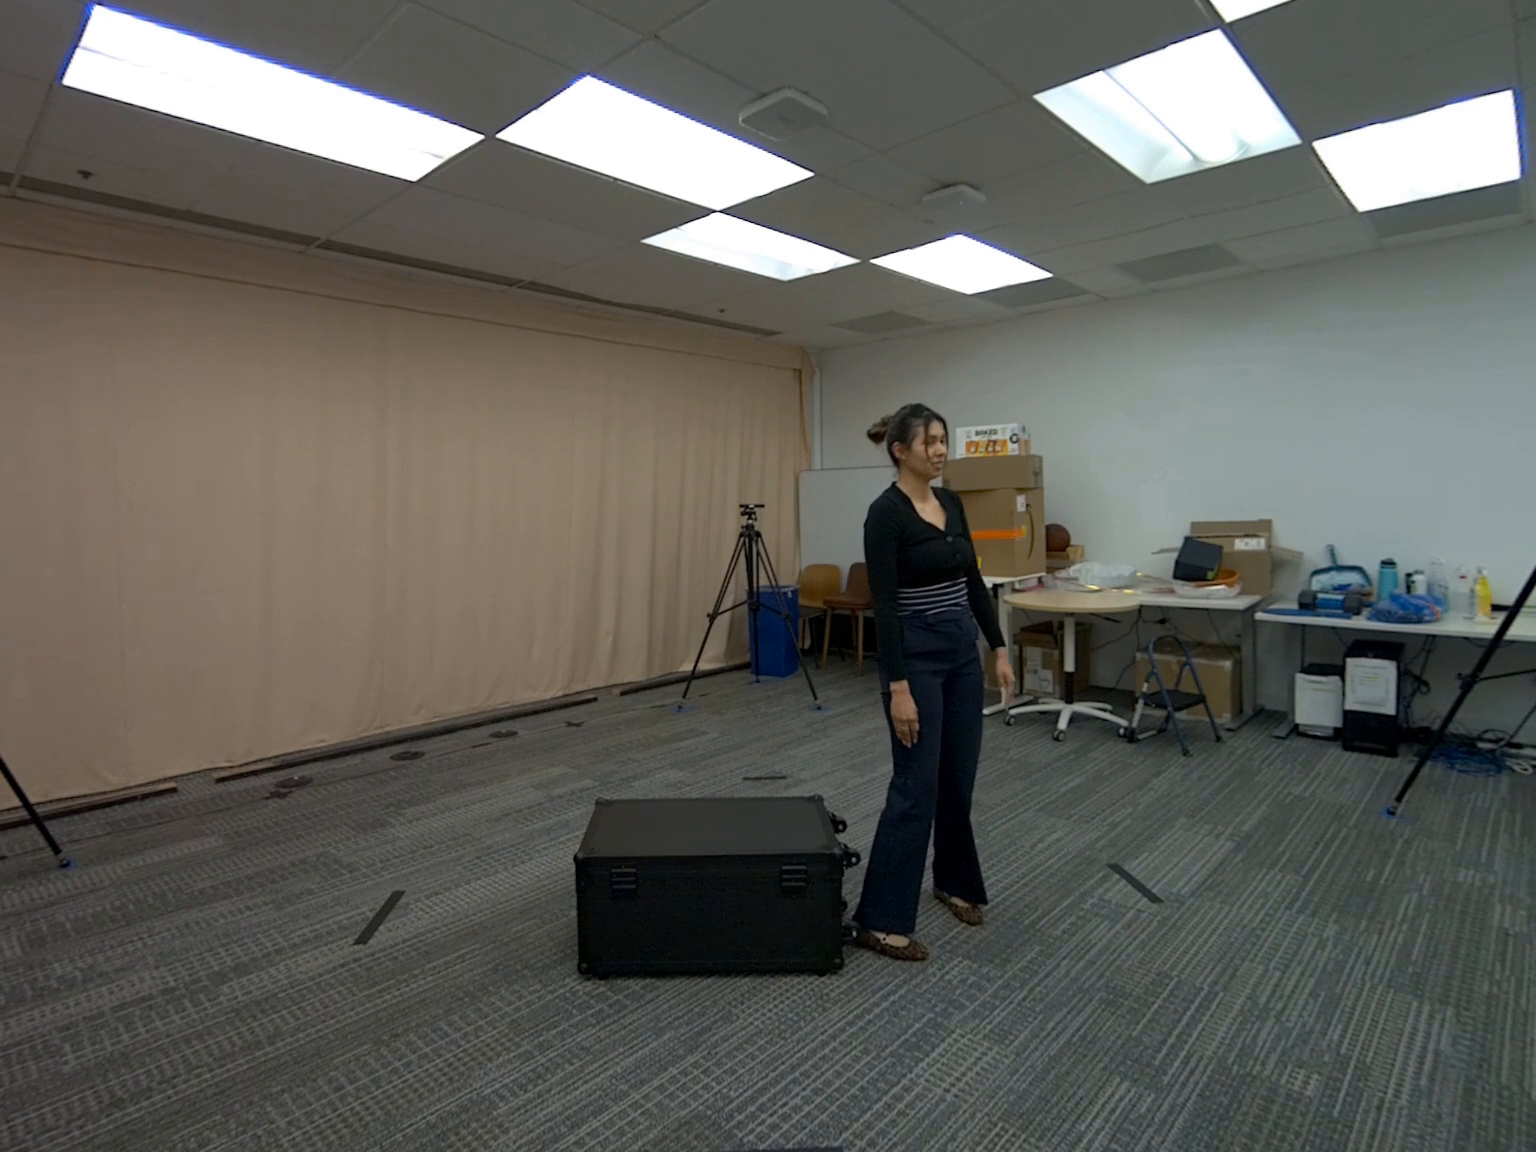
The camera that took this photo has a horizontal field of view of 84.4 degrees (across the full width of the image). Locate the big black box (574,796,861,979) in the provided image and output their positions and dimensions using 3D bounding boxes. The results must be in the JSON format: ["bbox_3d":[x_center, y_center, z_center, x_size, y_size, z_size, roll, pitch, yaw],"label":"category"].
[{"bbox_3d":[-0.153,0.977,2.695,0.861,0.395,0.523,-1,4,-1],"label":"big black box"}]
